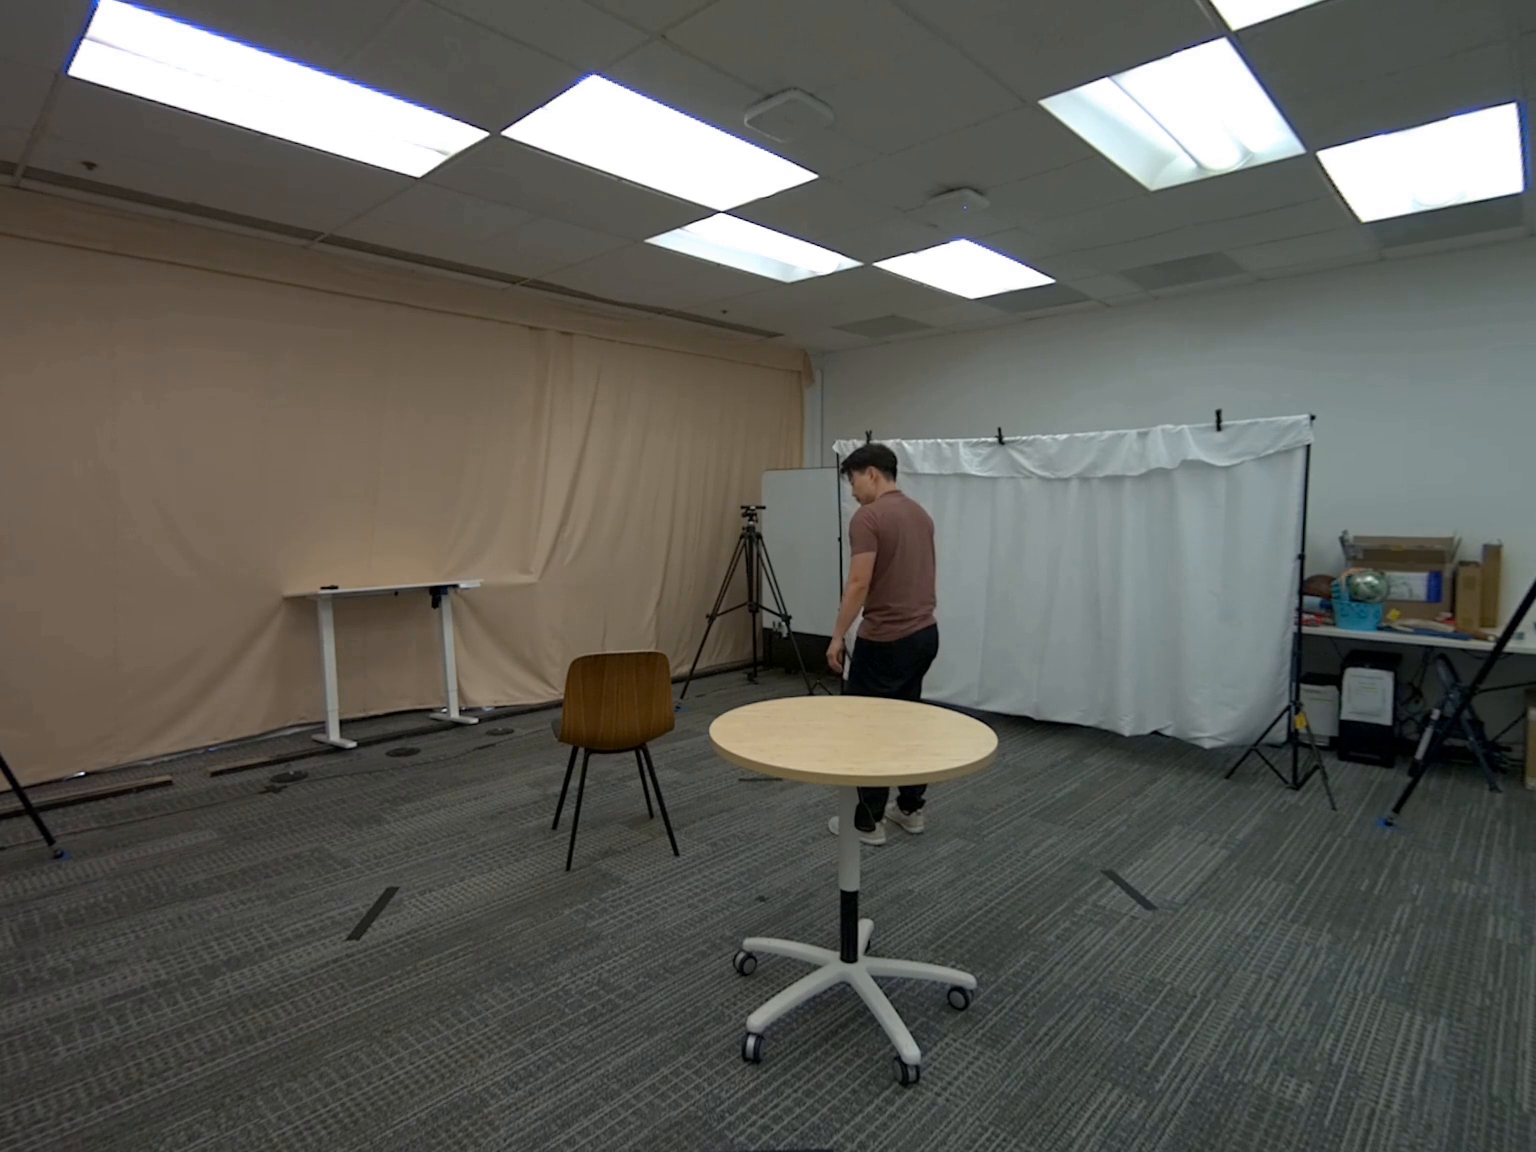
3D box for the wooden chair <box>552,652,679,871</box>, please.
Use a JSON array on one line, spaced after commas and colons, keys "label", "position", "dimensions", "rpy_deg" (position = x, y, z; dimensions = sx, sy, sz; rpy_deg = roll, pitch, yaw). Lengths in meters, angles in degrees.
[{"label": "wooden chair", "position": [-0.649, 0.680, 3.476], "dimensions": [0.469, 0.874, 0.536], "rpy_deg": [-1, 7, -20]}]
